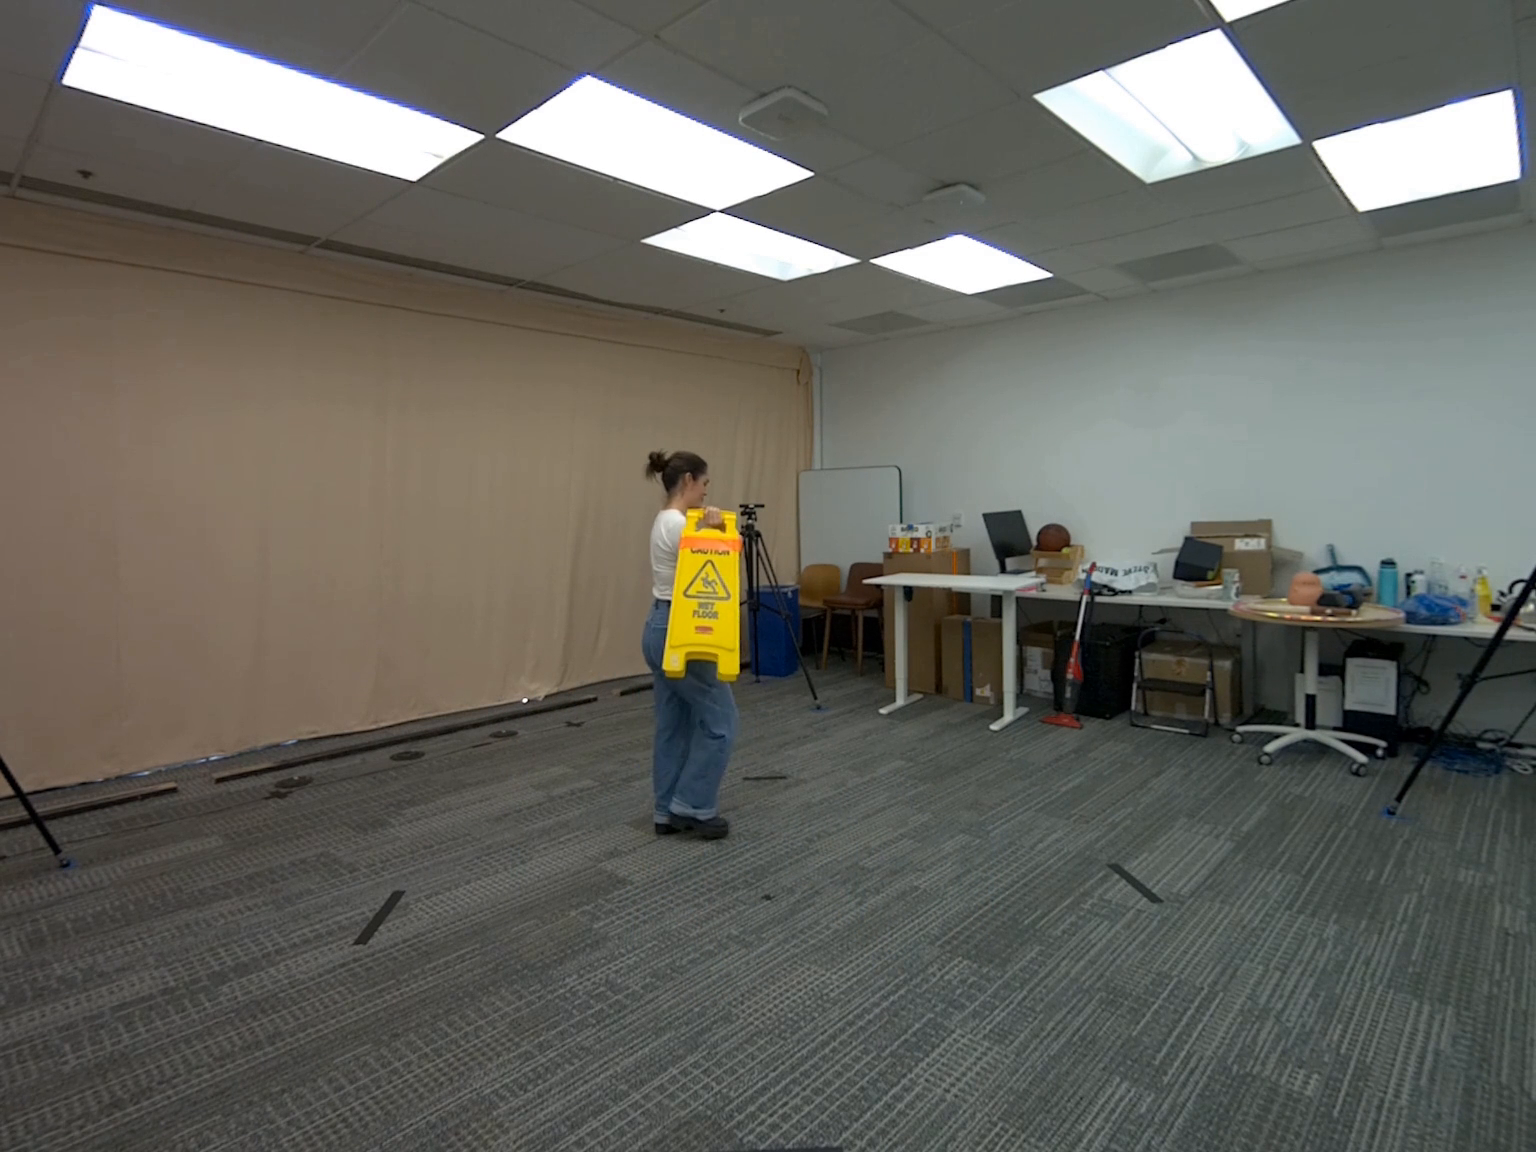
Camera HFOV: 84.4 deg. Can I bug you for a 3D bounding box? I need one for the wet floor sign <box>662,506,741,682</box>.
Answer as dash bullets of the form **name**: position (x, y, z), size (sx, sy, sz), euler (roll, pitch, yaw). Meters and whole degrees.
- **wet floor sign**: position (-0.233, 0.062, 3.245), size (0.282, 0.651, 0.288), euler (2, -13, -3)
